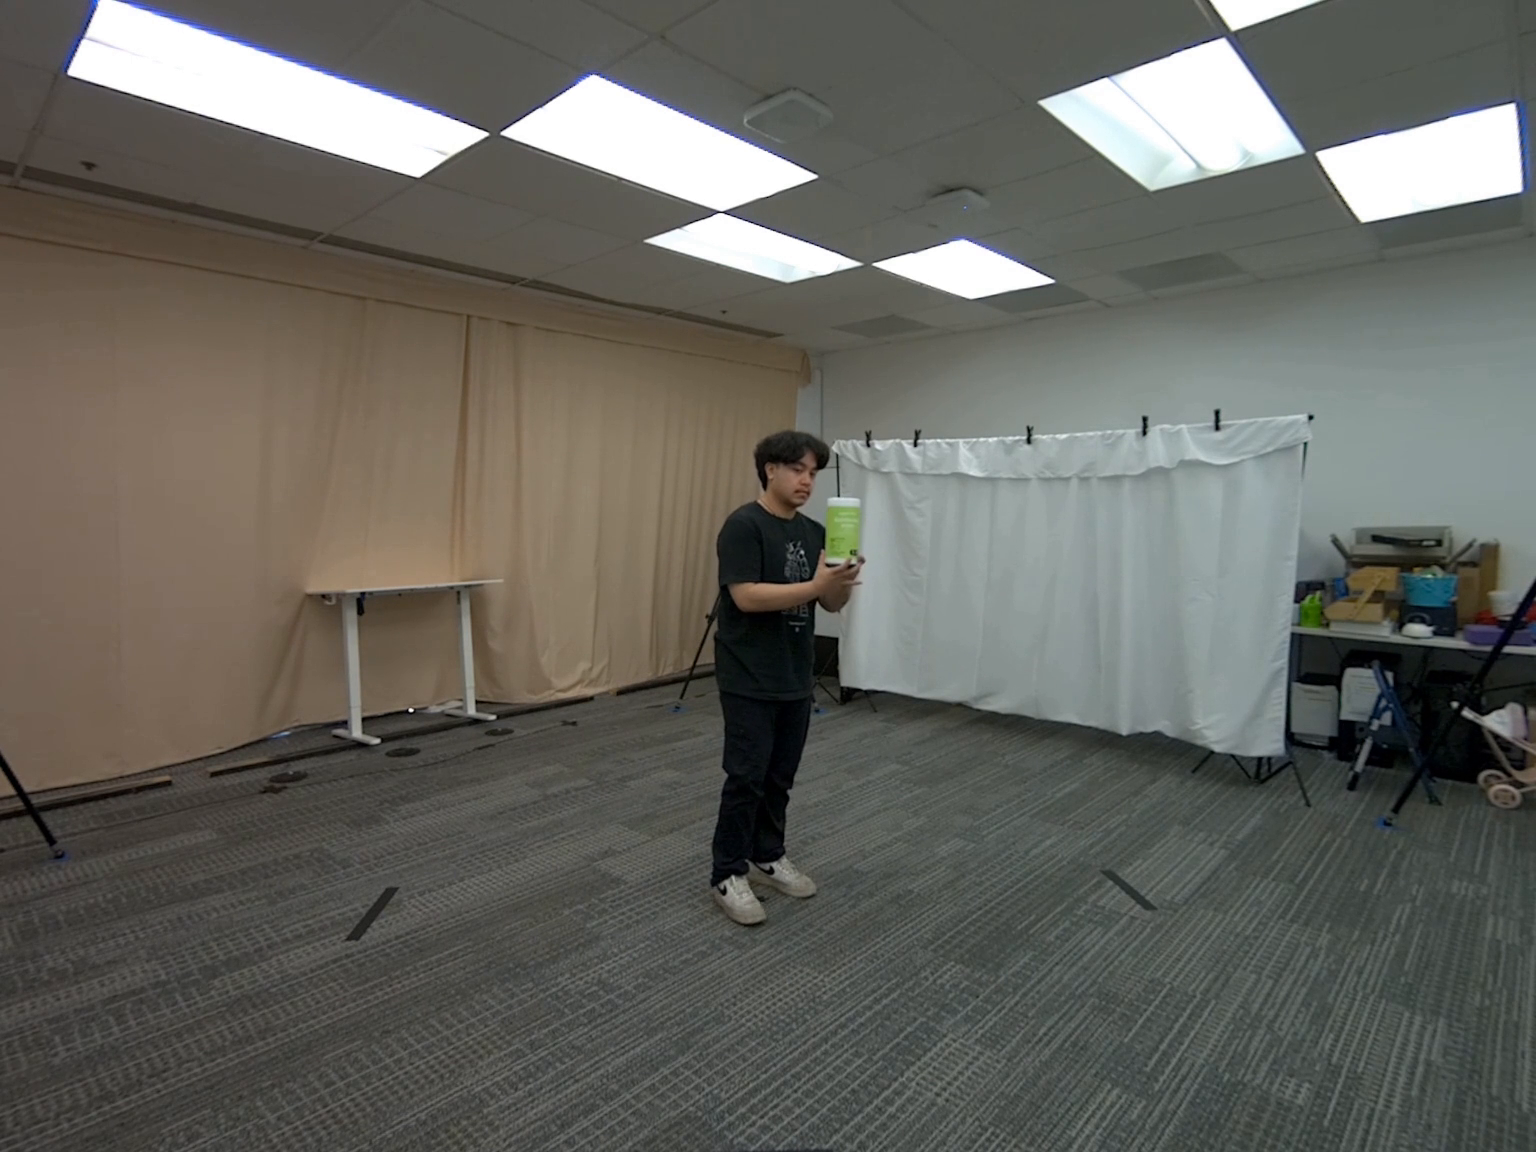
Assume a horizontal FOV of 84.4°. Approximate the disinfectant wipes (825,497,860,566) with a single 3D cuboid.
[{"bbox_3d":[0.250,-0.148,2.739,0.118,0.217,0.118,3,-1,-2],"label":"disinfectant wipes"}]
